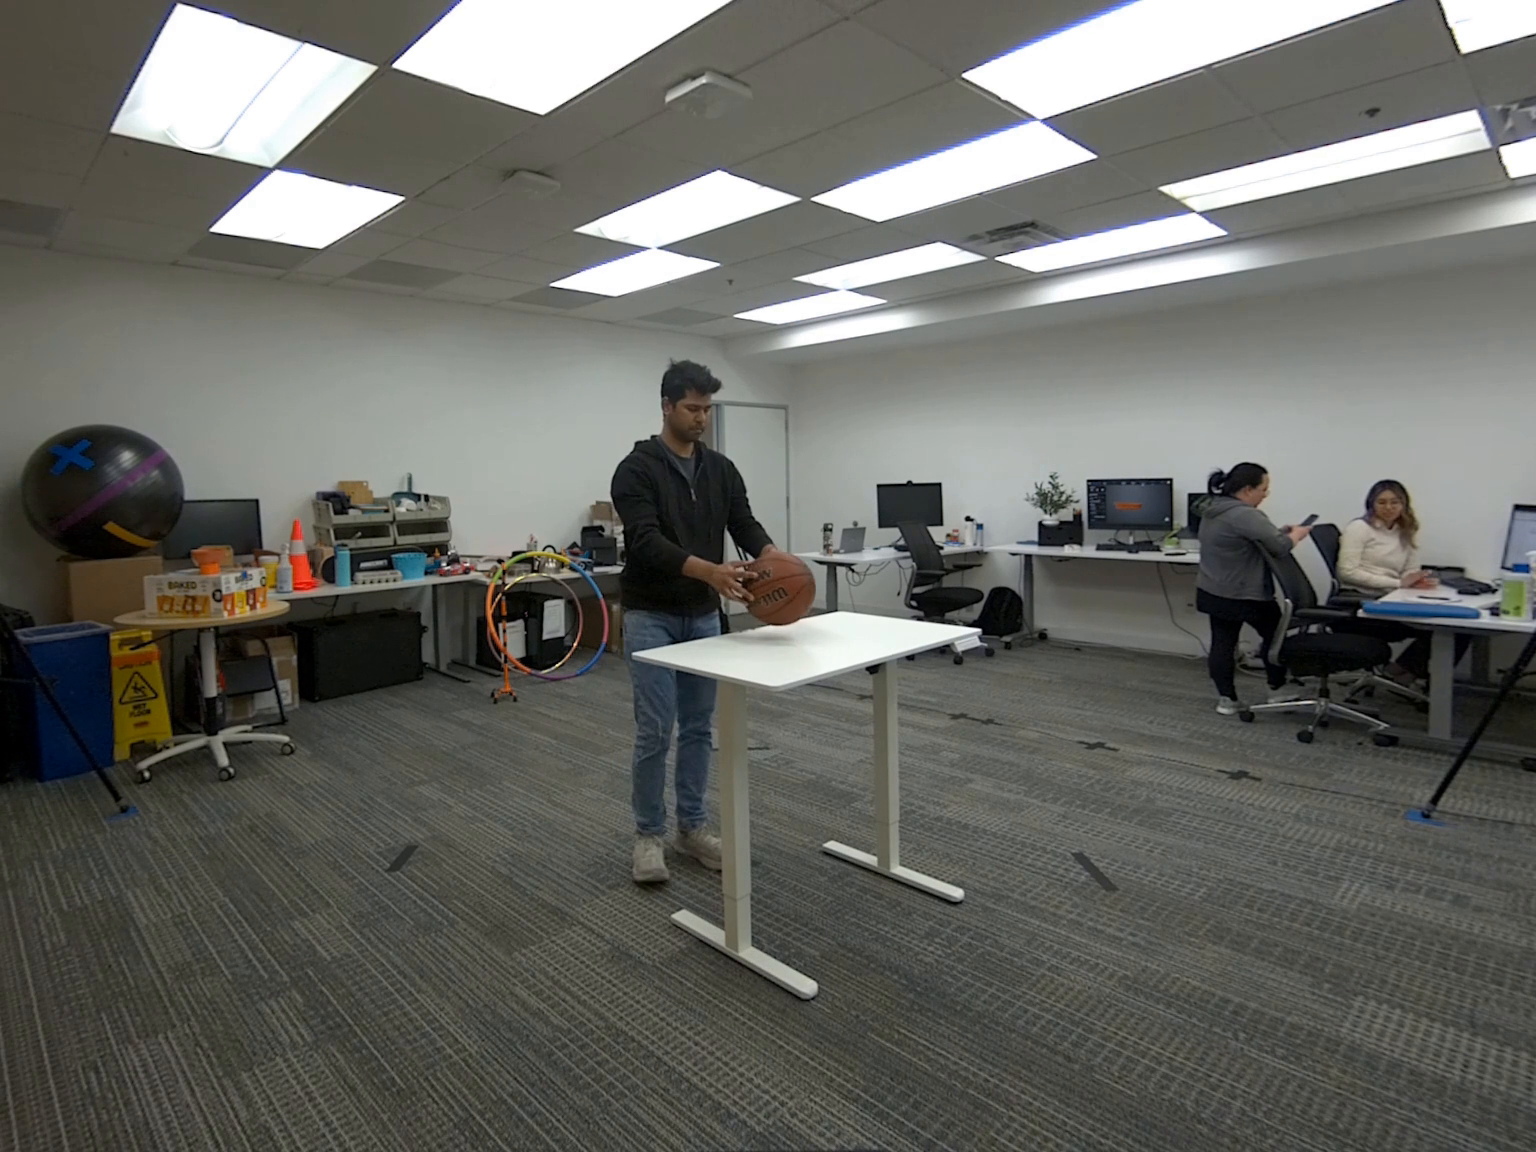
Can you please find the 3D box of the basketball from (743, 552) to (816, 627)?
[{"bbox_3d":[0.018,0.041,2.750,0.236,0.235,0.237,-1,5,-2],"label":"basketball"}]
